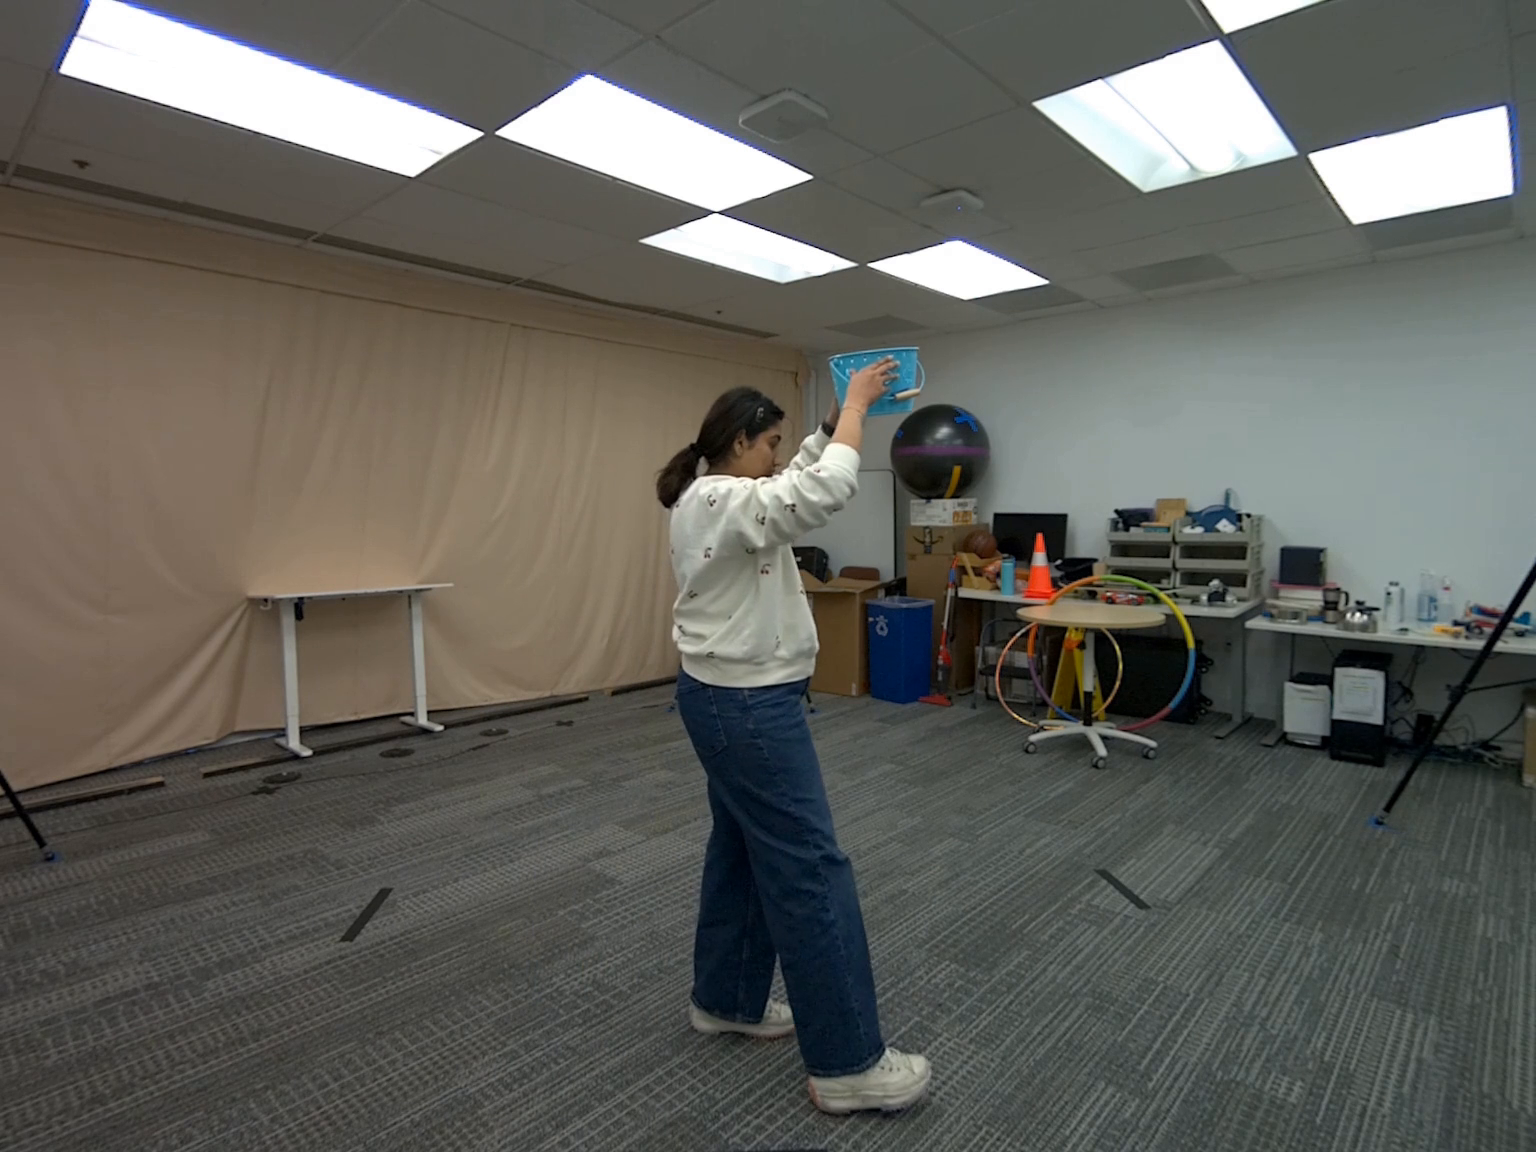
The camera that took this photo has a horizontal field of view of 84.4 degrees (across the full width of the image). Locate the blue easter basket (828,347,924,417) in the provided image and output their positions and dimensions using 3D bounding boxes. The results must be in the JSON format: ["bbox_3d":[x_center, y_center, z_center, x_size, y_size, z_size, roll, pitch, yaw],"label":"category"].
[{"bbox_3d":[0.283,-0.488,2.119,0.243,0.155,0.245,-6,8,-1],"label":"blue easter basket"}]
